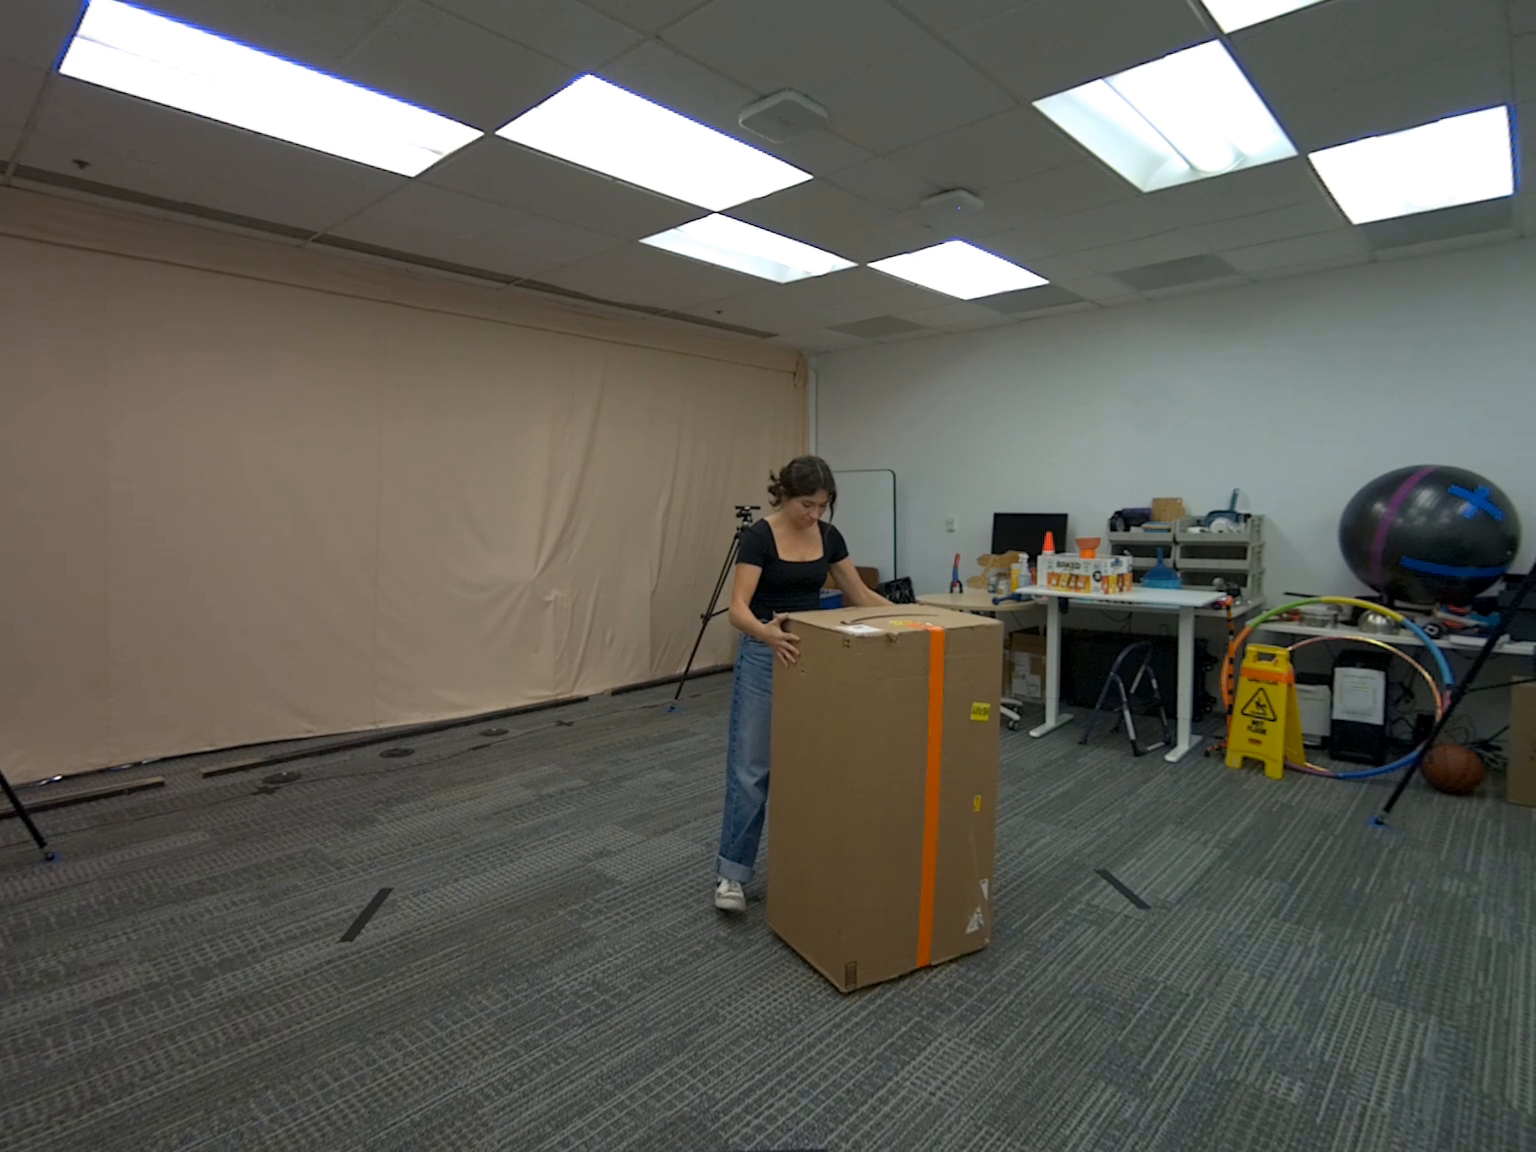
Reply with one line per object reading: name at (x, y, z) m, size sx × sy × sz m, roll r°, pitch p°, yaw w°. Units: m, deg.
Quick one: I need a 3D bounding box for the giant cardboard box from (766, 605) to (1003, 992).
giant cardboard box at (0.366, 0.644, 2.642) m, size 0.562 × 1.023 × 0.439 m, roll -1°, pitch 5°, yaw -30°
